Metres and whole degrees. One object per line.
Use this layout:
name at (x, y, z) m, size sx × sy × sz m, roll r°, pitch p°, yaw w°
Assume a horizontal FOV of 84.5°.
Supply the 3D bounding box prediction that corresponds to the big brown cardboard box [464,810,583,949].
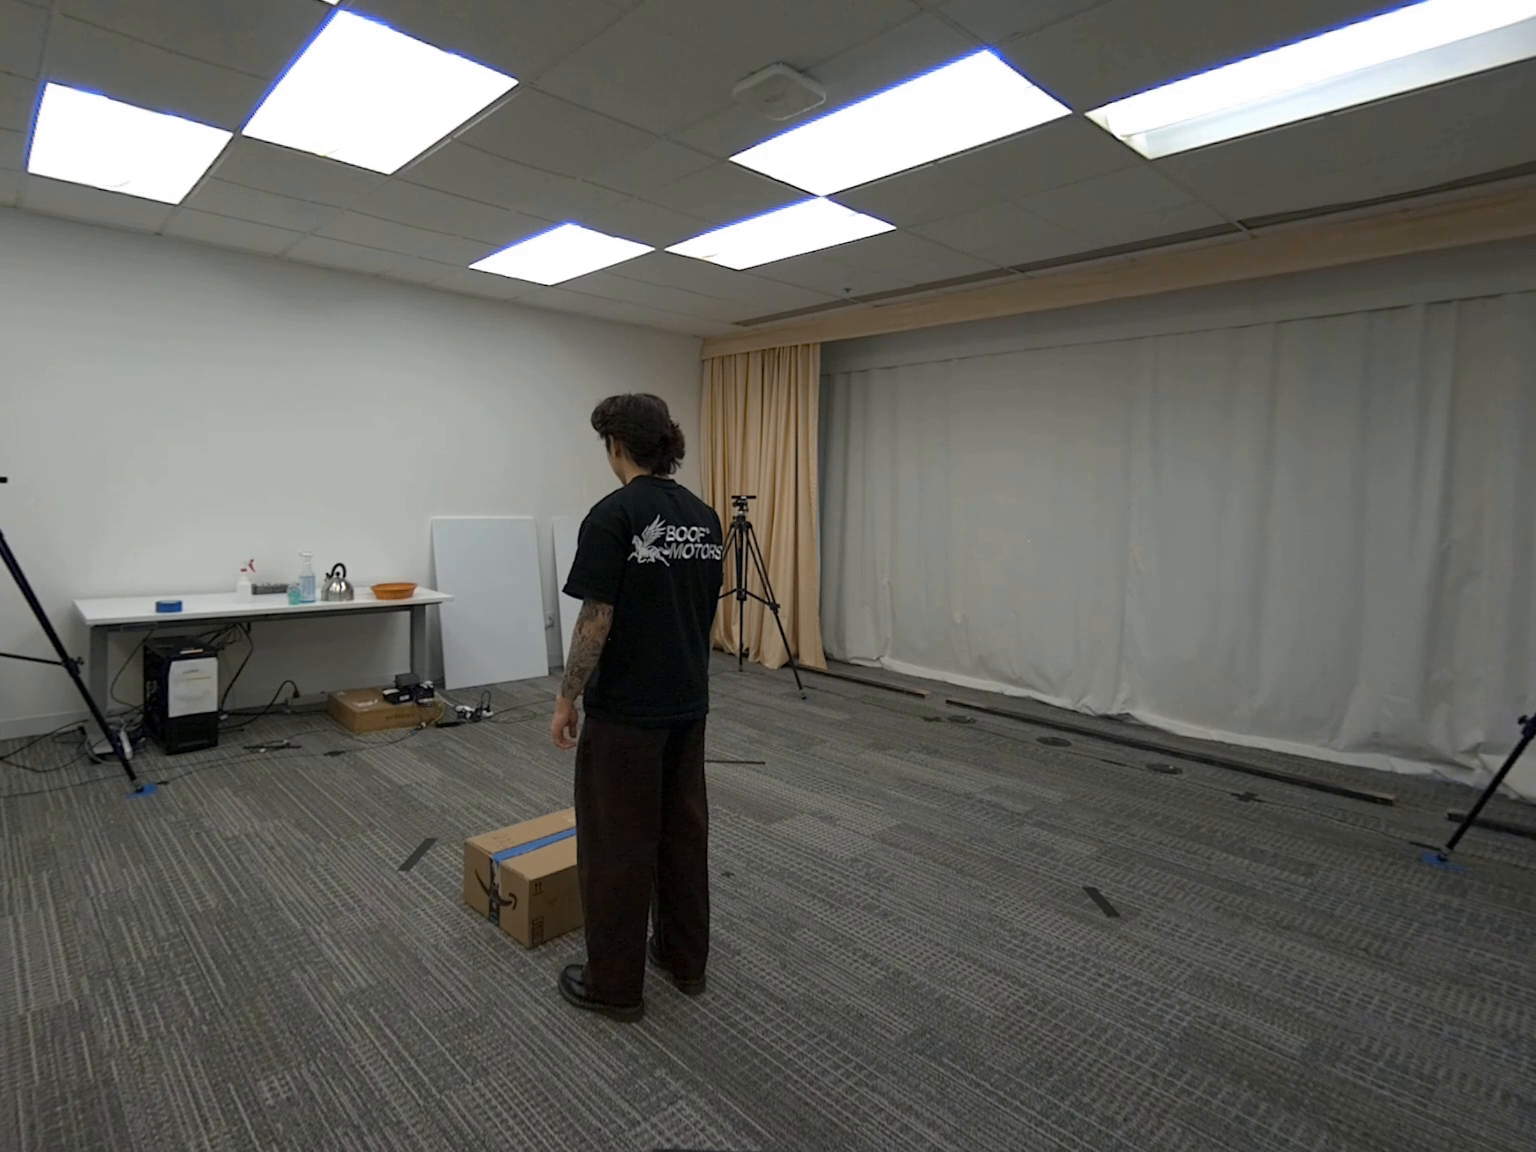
big brown cardboard box at (-0.687, 0.996, 2.901) m, size 0.428 × 0.232 × 0.576 m, roll 5°, pitch 8°, yaw 43°
